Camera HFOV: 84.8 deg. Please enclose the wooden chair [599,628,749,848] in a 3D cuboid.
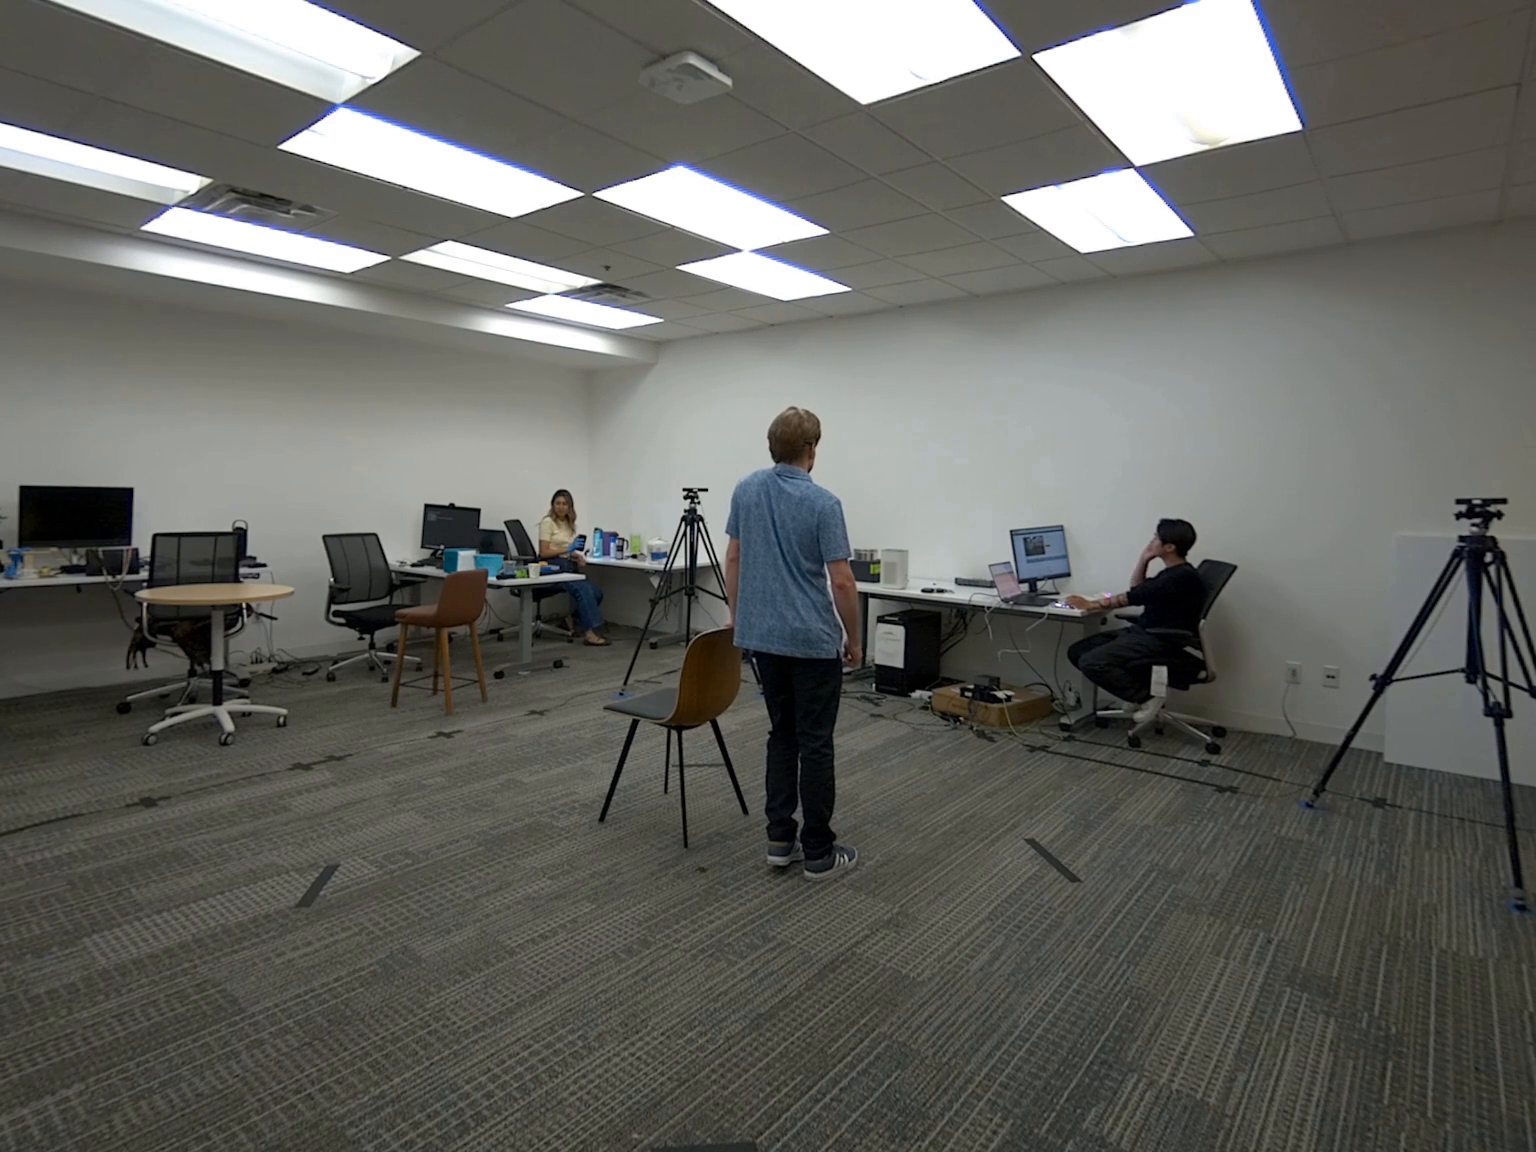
[{"bbox_3d":[-0.406,0.593,3.571,0.540,0.873,0.465,8,7,33],"label":"wooden chair"}]
